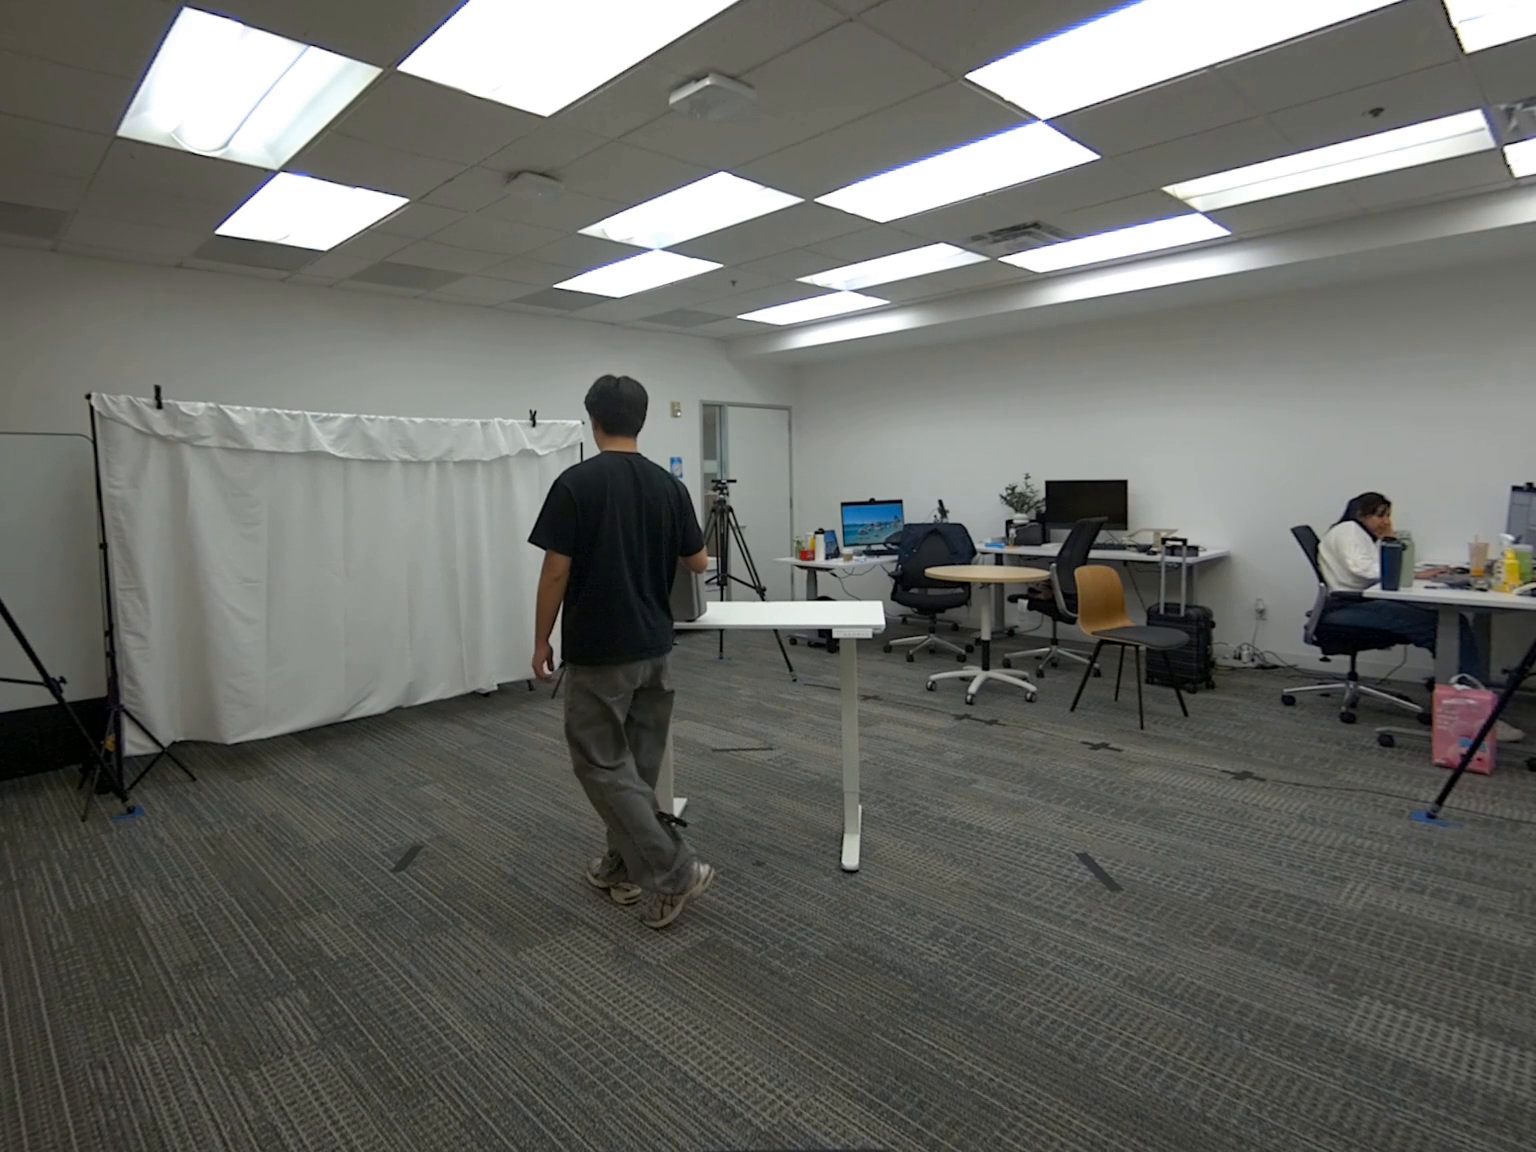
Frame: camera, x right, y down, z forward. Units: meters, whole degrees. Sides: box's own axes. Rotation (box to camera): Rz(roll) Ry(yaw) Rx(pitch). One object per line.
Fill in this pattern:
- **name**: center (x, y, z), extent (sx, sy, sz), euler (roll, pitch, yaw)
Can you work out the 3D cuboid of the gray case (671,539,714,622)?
- **gray case**: center (-0.353, 0.016, 3.162), extent (0.269, 0.286, 0.101), euler (-3, 3, 29)
